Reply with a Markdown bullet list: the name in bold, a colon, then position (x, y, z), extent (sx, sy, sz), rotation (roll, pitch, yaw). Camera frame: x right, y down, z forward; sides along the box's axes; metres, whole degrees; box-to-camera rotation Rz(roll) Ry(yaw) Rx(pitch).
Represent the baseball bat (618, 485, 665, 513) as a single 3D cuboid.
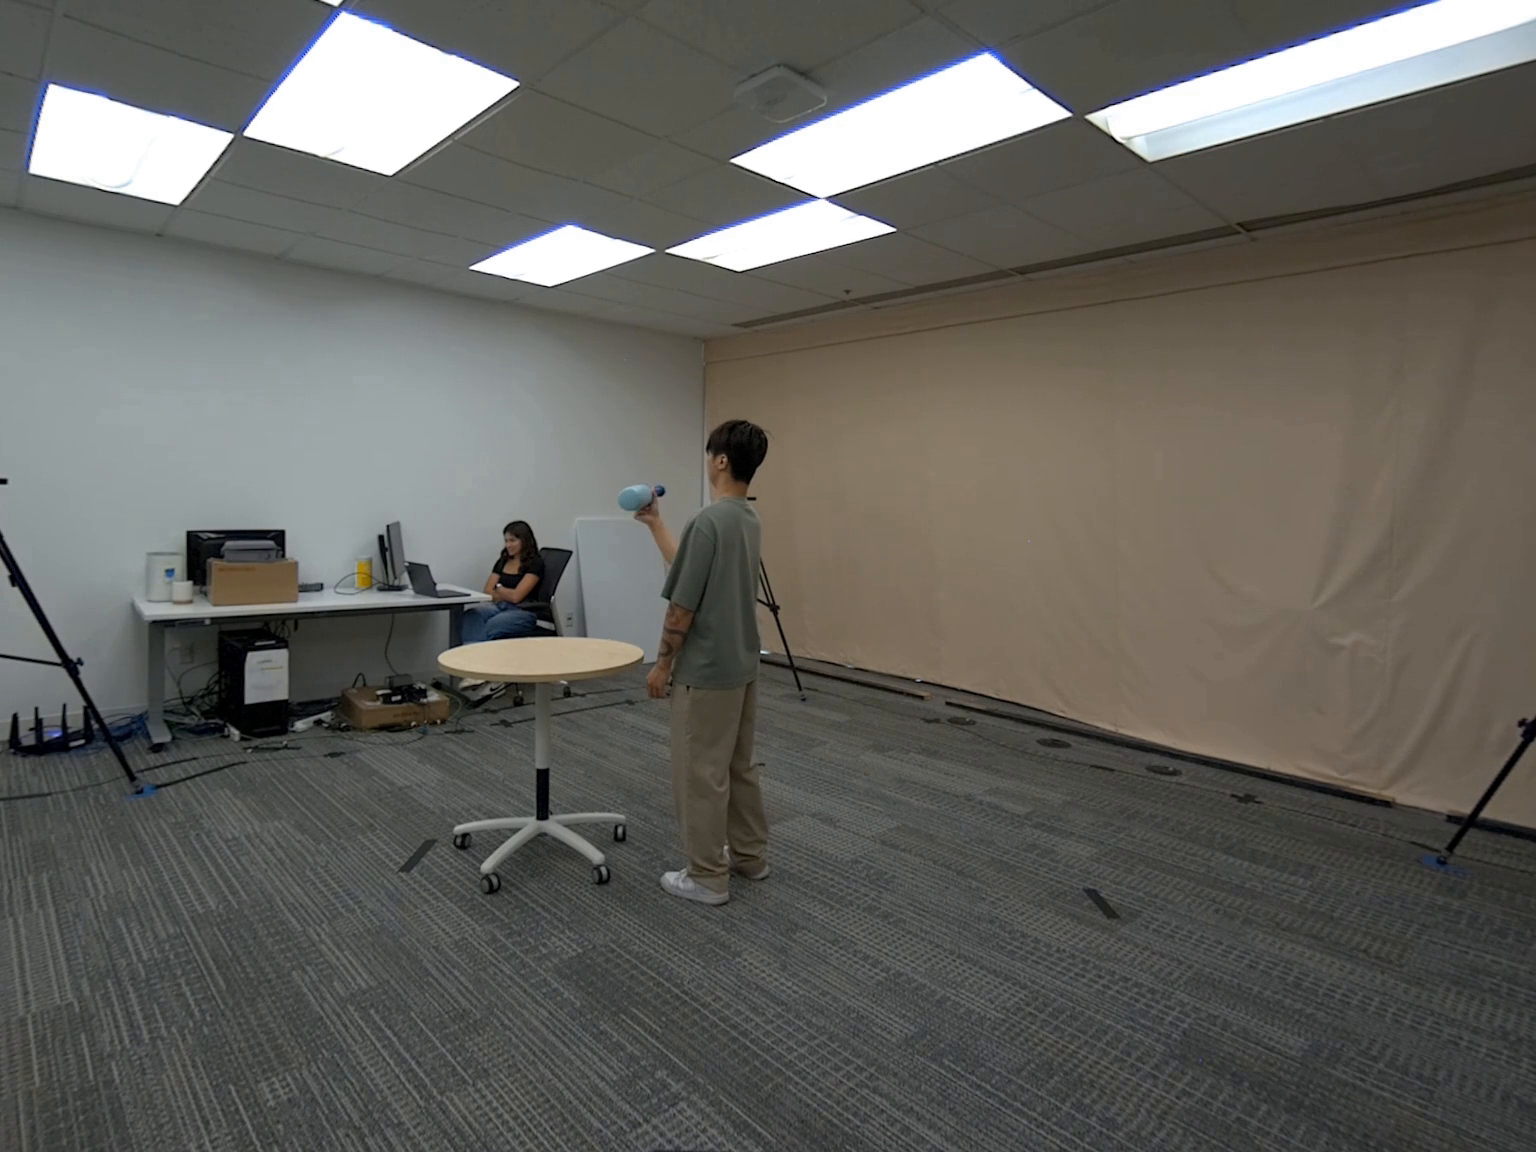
- **baseball bat**: position (-0.475, -0.321, 3.276), extent (0.089, 0.088, 0.542), rotation (2, 8, 7)
